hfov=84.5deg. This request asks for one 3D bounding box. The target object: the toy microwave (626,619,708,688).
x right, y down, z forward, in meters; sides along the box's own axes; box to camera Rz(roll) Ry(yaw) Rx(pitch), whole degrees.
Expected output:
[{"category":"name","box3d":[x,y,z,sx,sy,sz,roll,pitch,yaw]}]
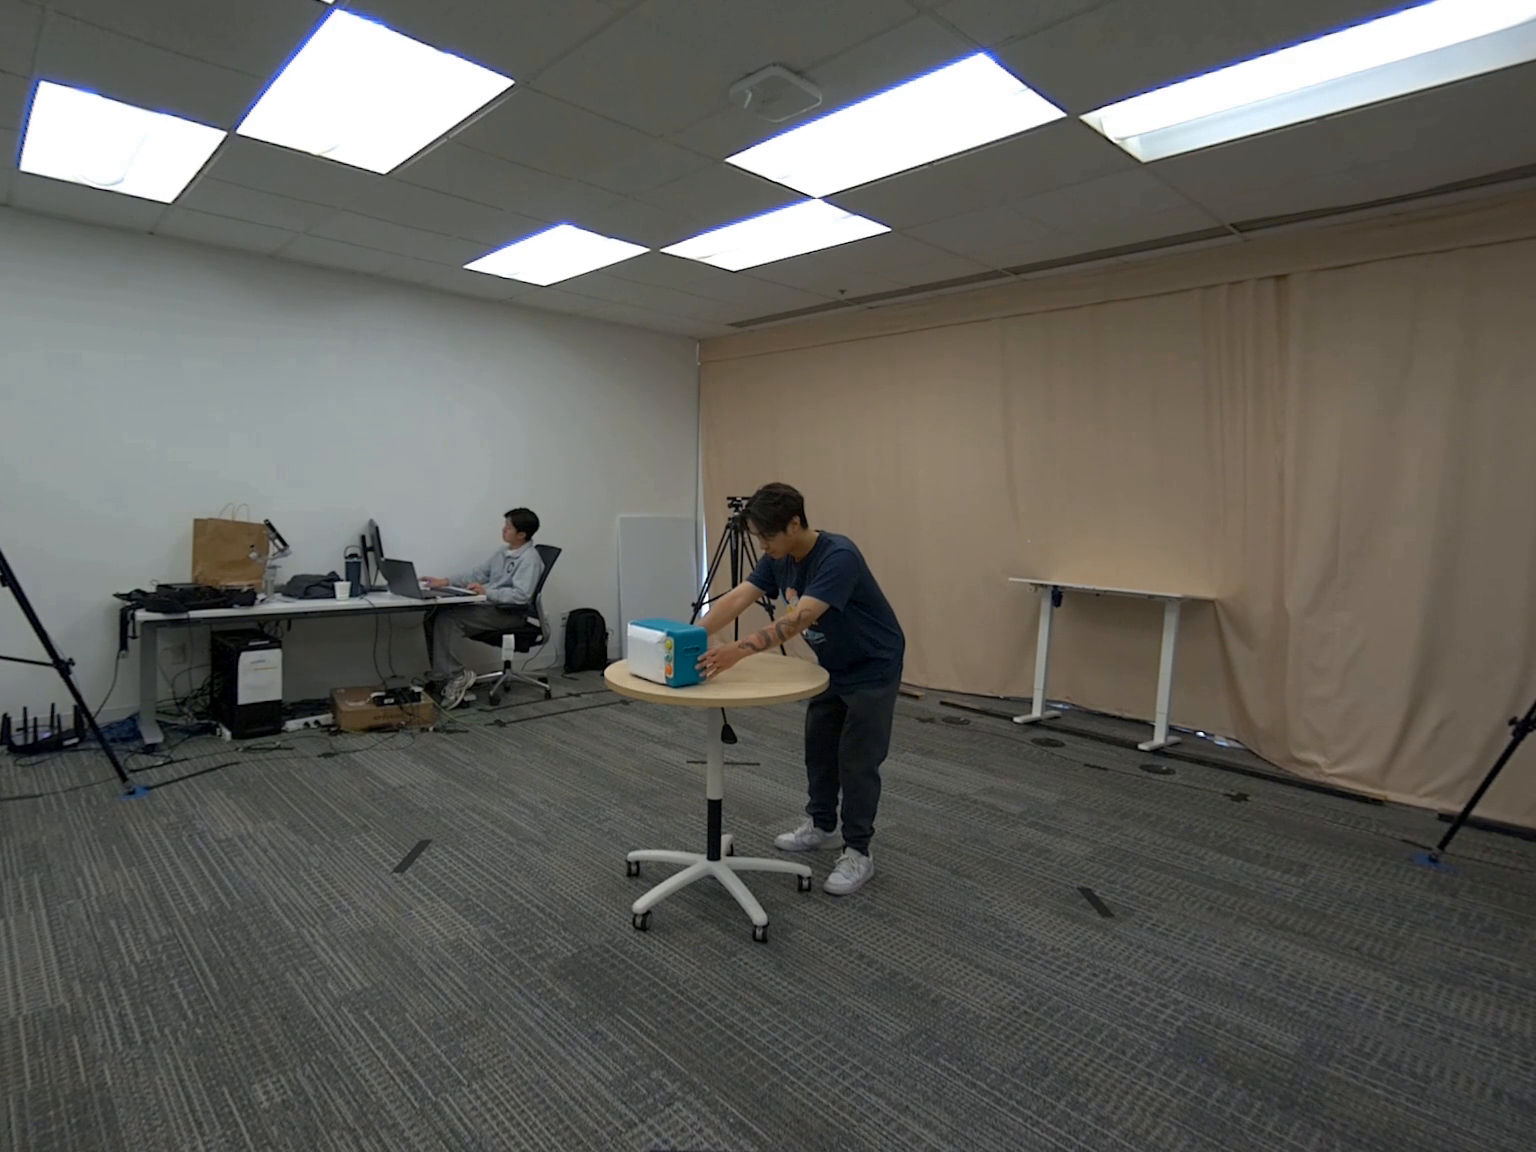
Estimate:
[{"category":"toy microwave","box3d":[-0.343,0.248,2.730,0.149,0.183,0.293,-3,6,-41]}]
